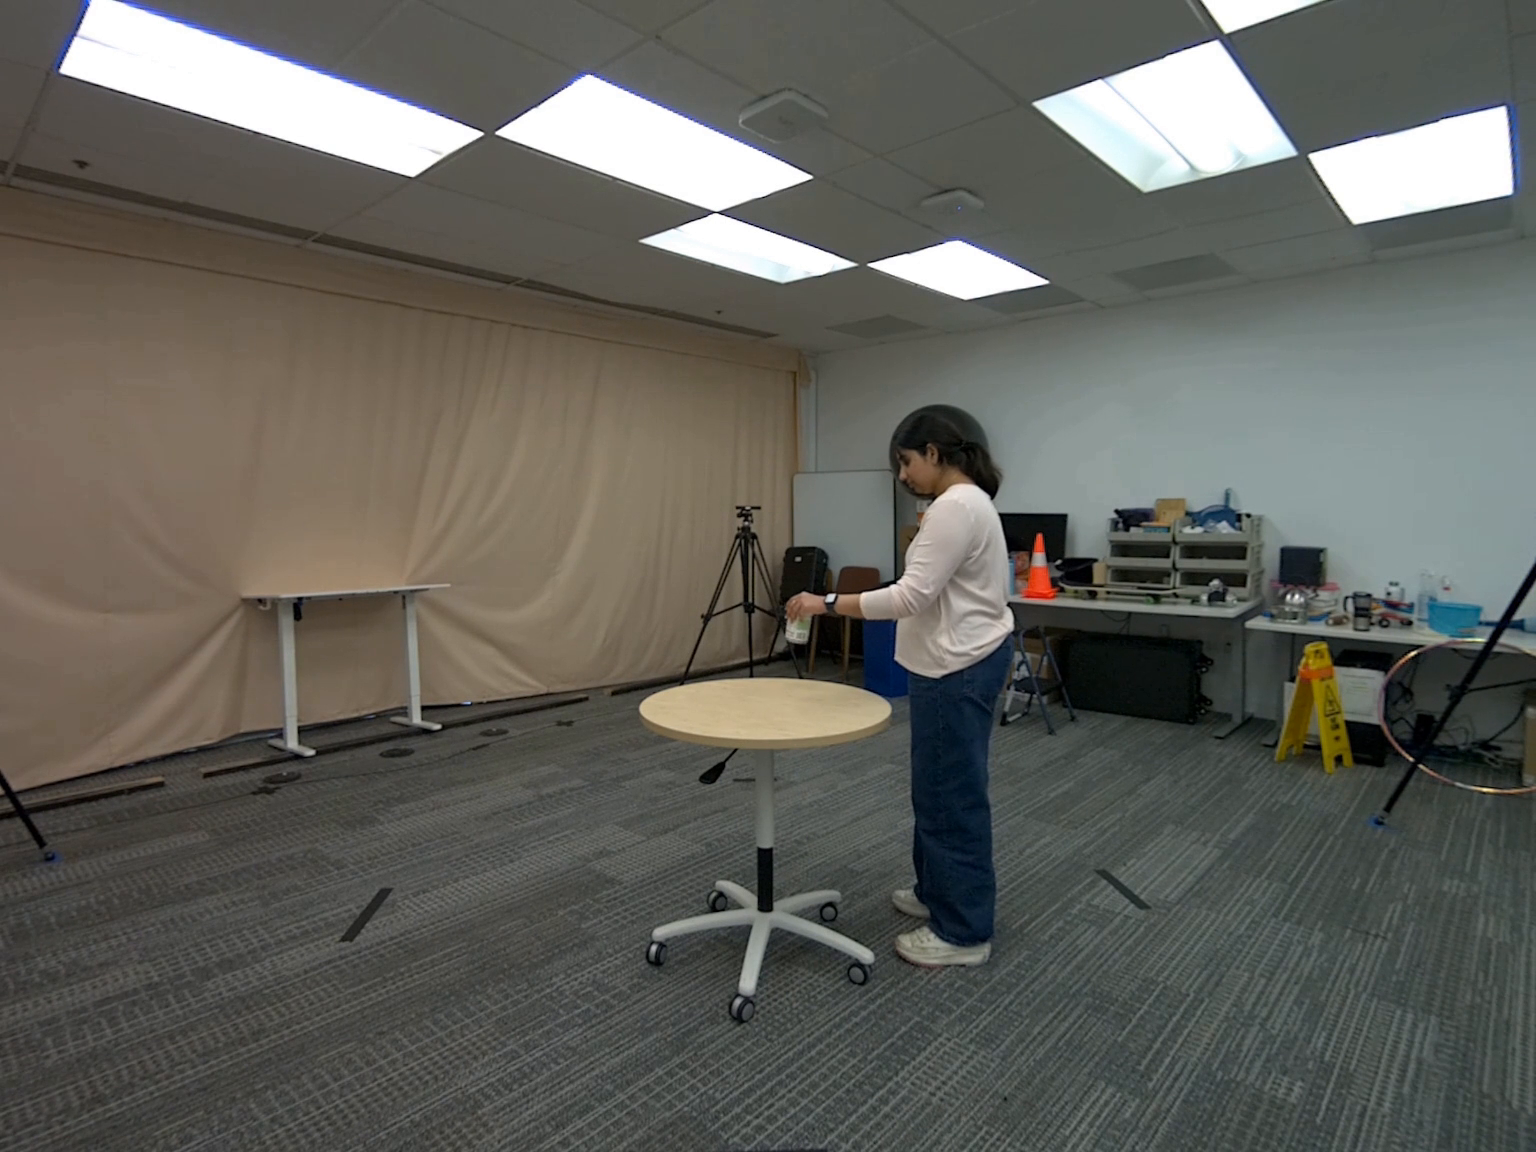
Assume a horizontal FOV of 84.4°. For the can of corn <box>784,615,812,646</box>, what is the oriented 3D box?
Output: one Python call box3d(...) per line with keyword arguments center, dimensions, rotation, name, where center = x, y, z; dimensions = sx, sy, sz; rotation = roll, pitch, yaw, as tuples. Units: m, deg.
box3d(center=(0.106, 0.153, 2.693), dimensions=(0.074, 0.111, 0.074), rotation=(6, 6, -3), name="can of corn")
